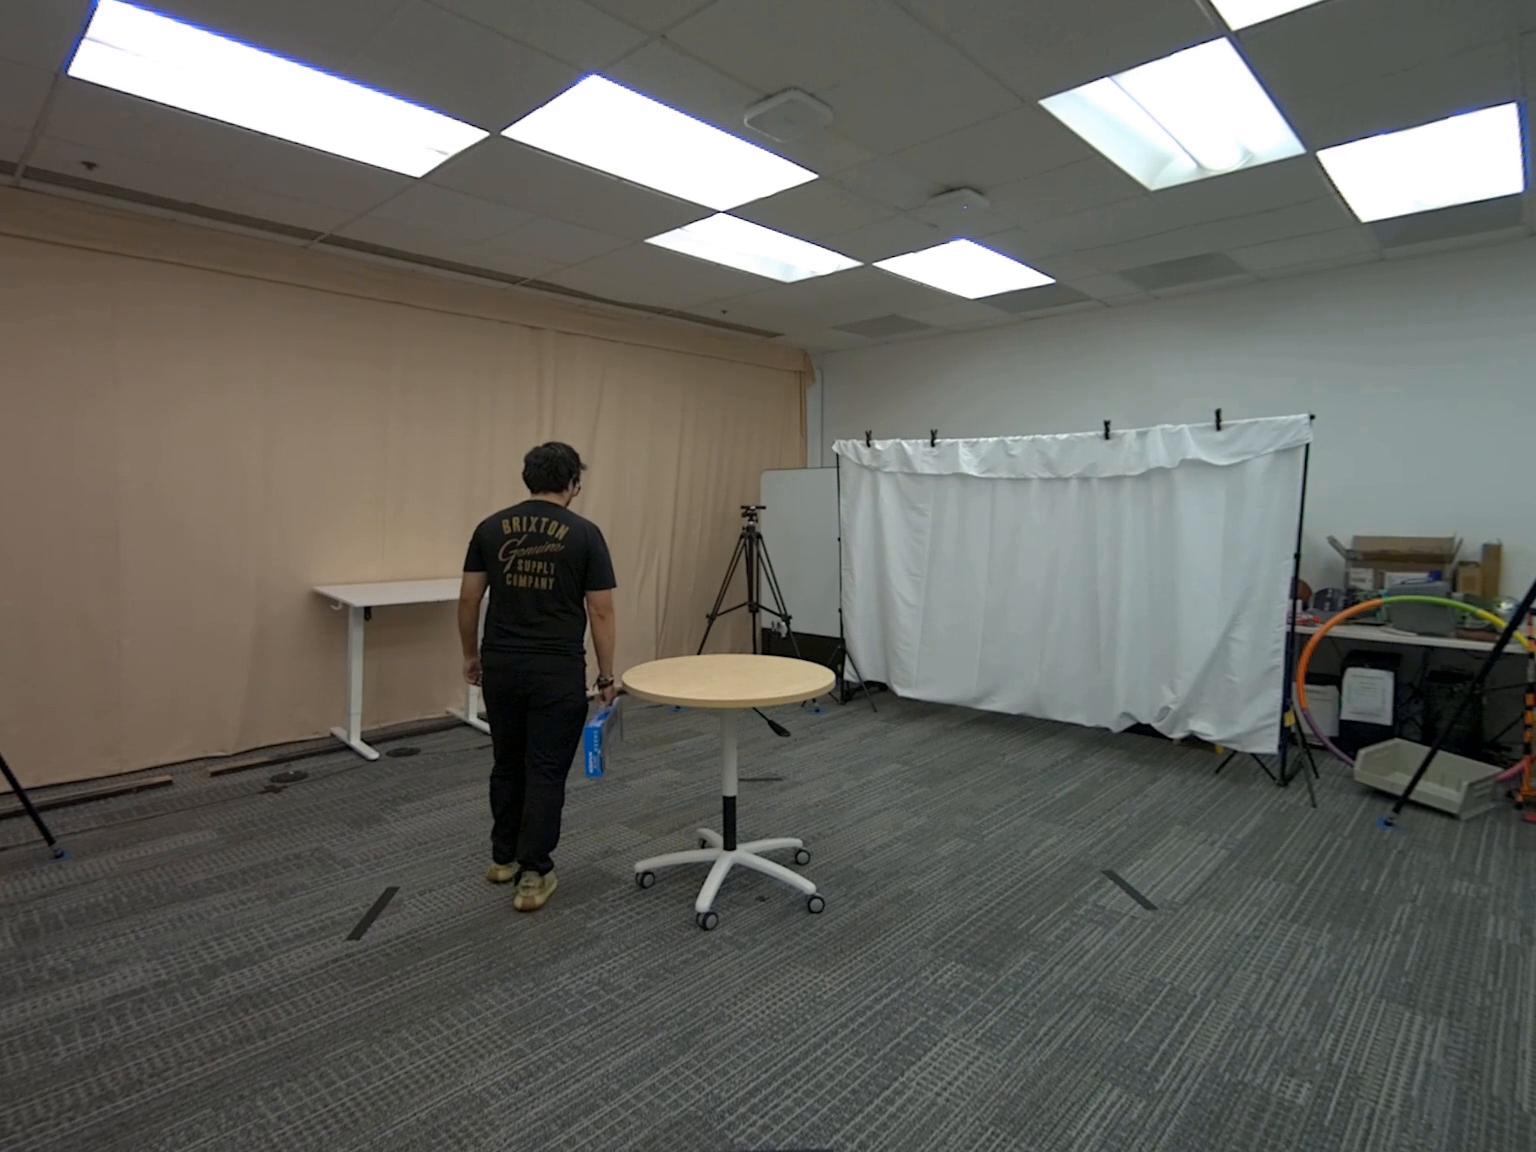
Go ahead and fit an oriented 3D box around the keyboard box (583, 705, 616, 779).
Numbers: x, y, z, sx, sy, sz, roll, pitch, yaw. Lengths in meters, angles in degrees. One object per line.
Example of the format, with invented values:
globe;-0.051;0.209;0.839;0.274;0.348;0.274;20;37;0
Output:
keyboard box;-0.604;0.579;3.099;0.059;0.175;0.437;-3;6;1
